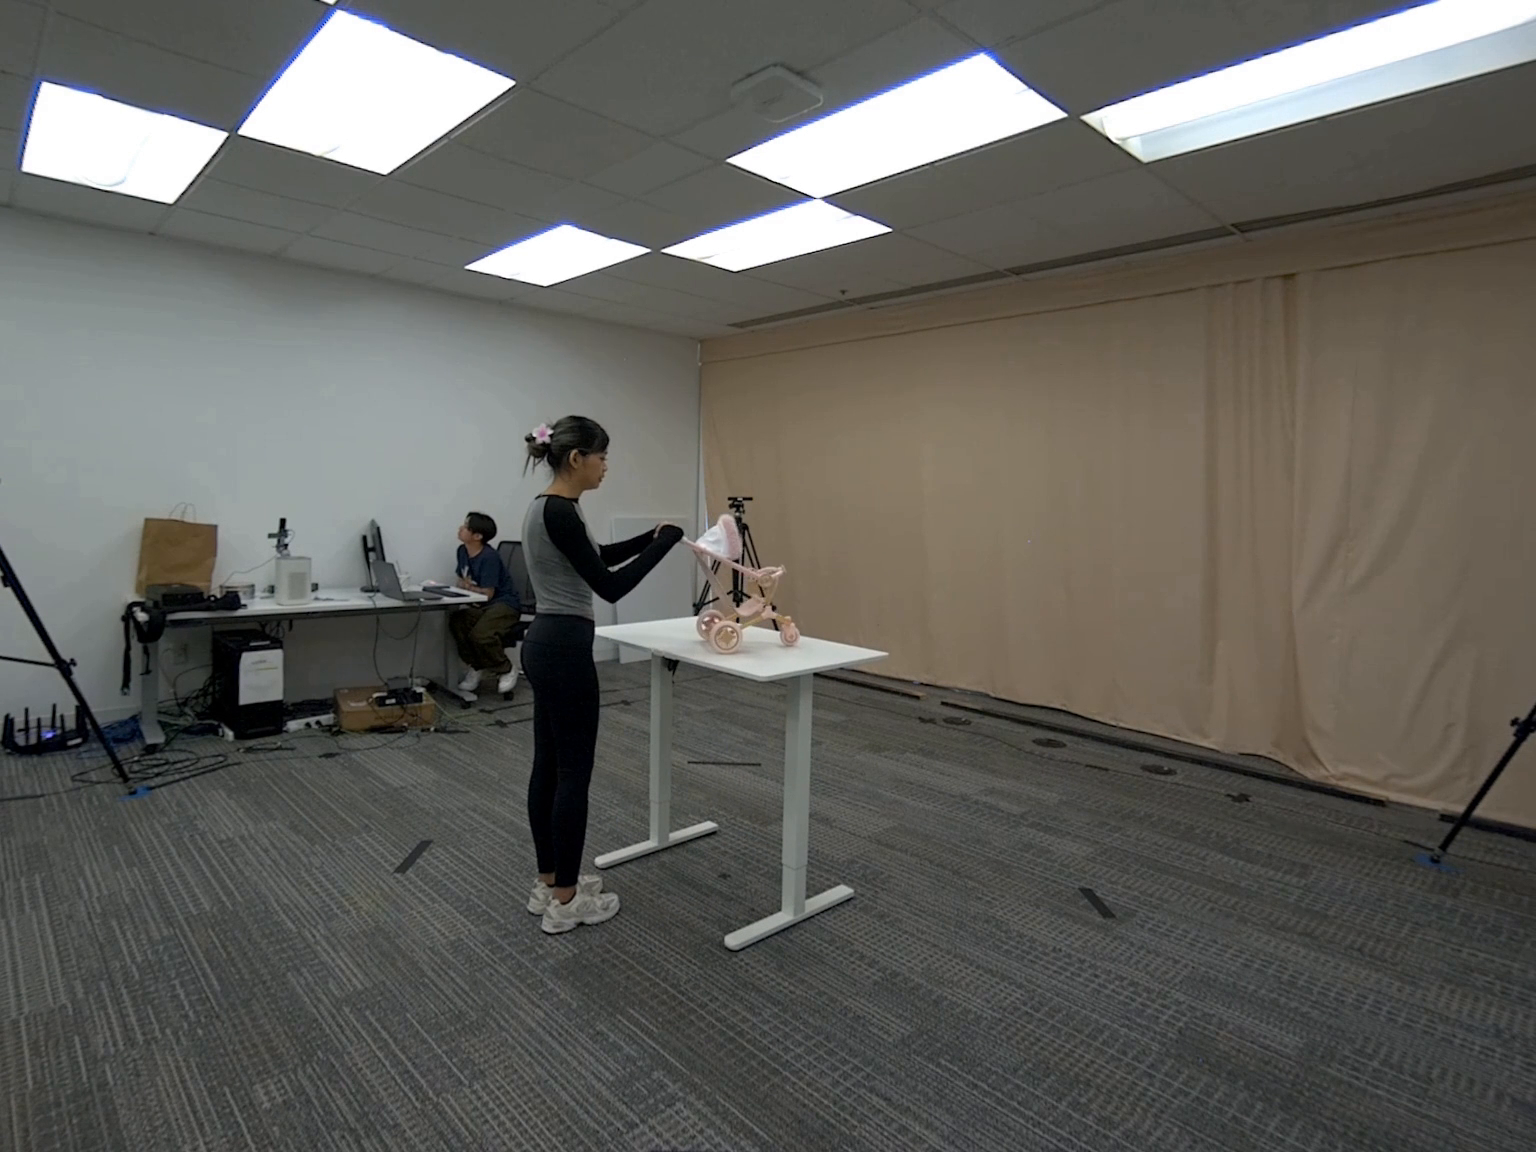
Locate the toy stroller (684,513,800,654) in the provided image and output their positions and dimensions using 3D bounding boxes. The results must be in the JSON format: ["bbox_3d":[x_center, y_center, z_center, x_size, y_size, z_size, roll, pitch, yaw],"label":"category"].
[{"bbox_3d":[-0.120,0.030,2.877,0.340,0.531,0.284,-16,7,-7],"label":"toy stroller"}]
